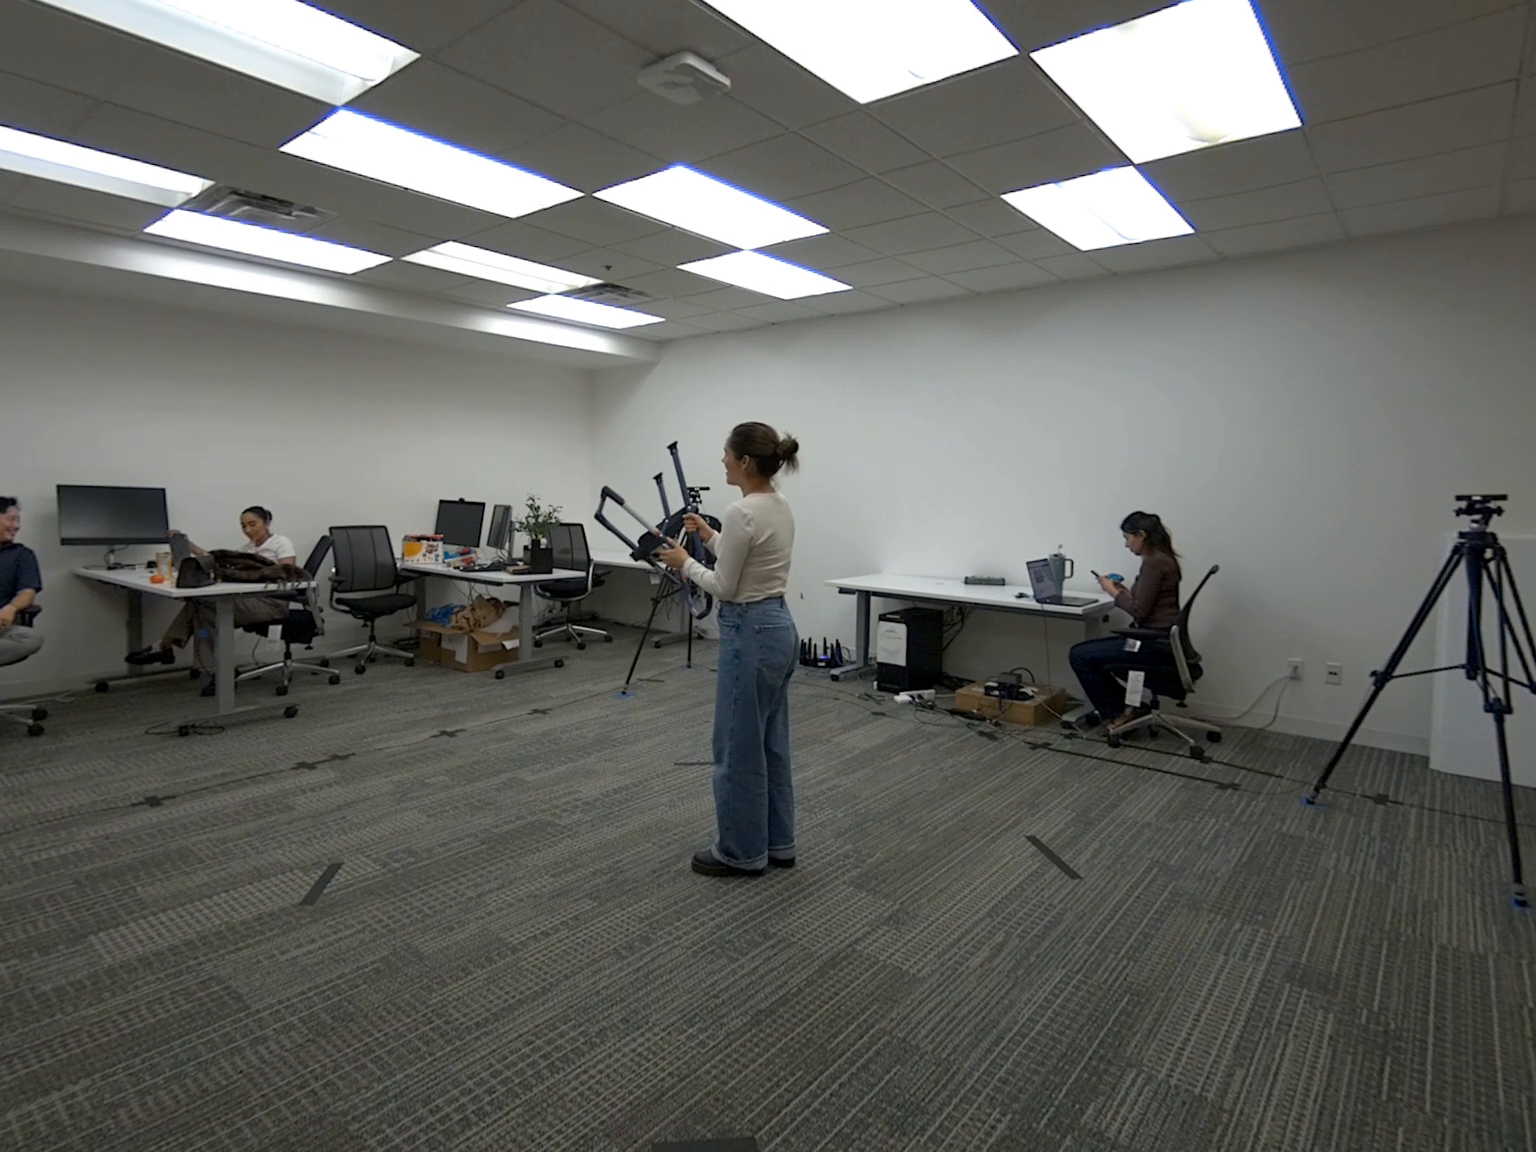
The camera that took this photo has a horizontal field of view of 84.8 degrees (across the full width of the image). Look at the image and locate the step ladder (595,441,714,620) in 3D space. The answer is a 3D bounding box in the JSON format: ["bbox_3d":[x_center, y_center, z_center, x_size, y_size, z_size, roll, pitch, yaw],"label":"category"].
[{"bbox_3d":[-0.382,-0.130,3.350,0.347,0.610,0.430,-35,-4,-17],"label":"step ladder"}]
